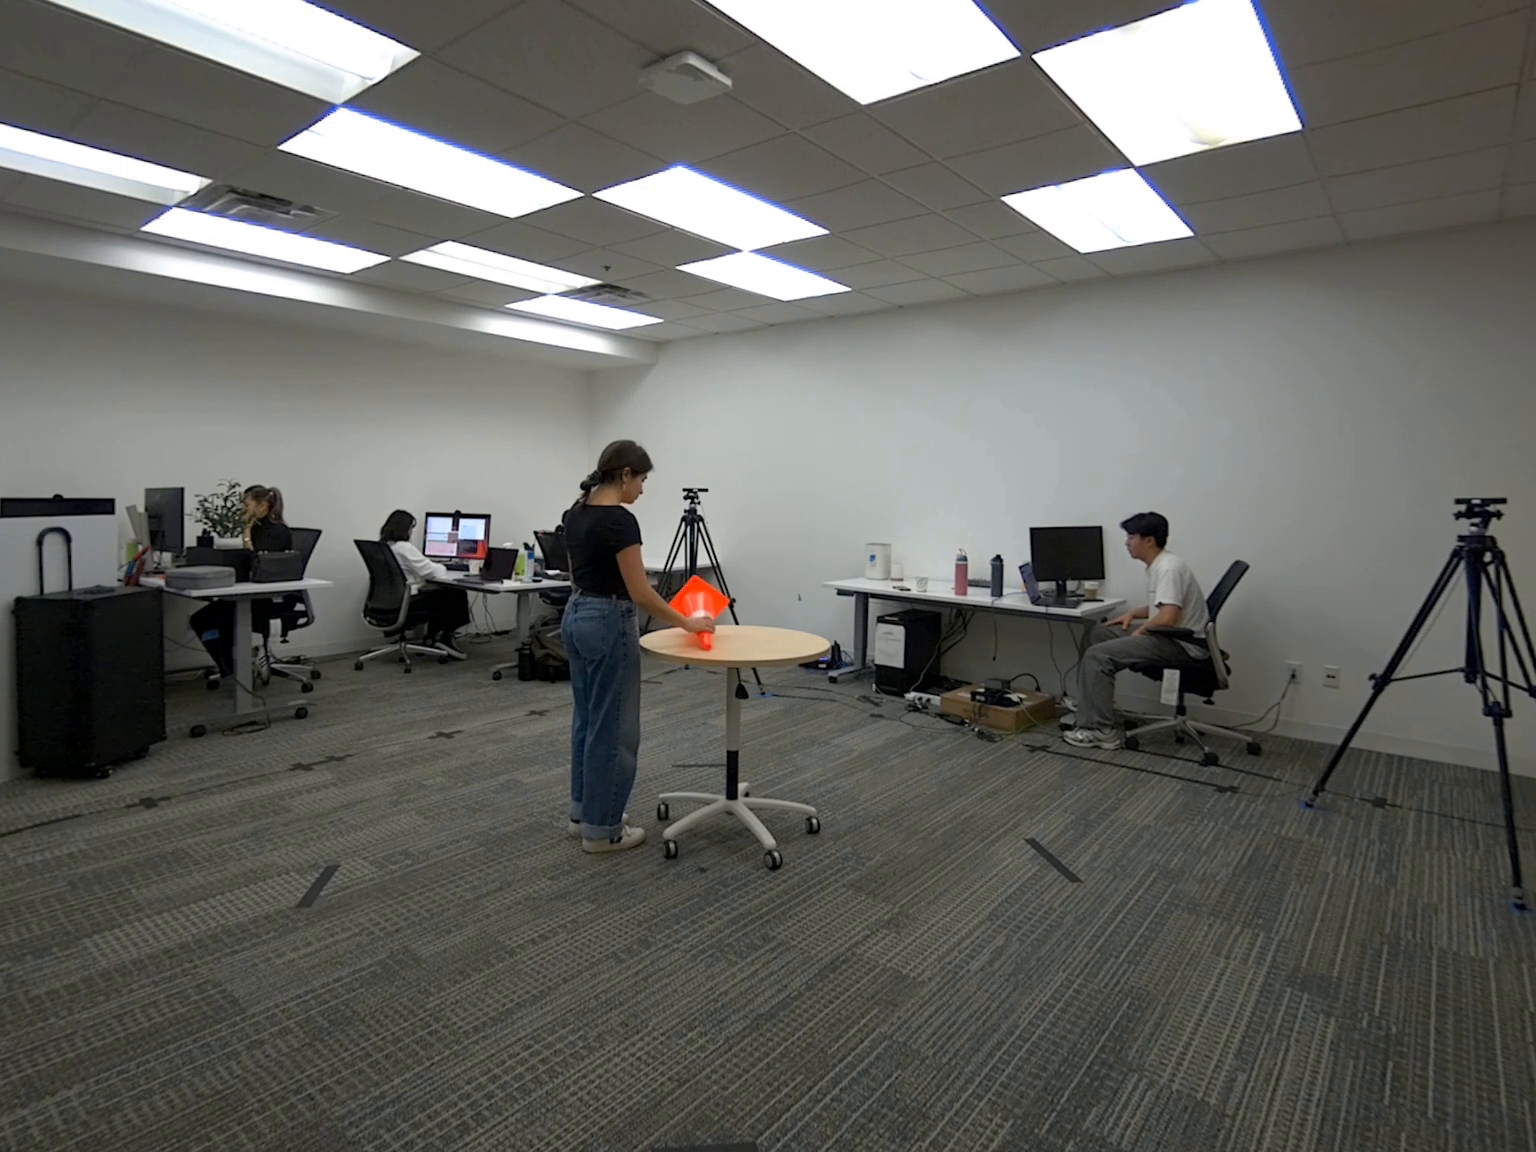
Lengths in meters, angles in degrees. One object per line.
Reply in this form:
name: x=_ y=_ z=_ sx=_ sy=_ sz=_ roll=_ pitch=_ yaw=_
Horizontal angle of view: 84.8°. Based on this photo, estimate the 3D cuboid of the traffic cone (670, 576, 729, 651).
traffic cone: x=-0.266 y=0.190 z=3.381 sx=0.198 sy=0.205 sz=0.394 roll=35 pitch=14 yaw=-21
